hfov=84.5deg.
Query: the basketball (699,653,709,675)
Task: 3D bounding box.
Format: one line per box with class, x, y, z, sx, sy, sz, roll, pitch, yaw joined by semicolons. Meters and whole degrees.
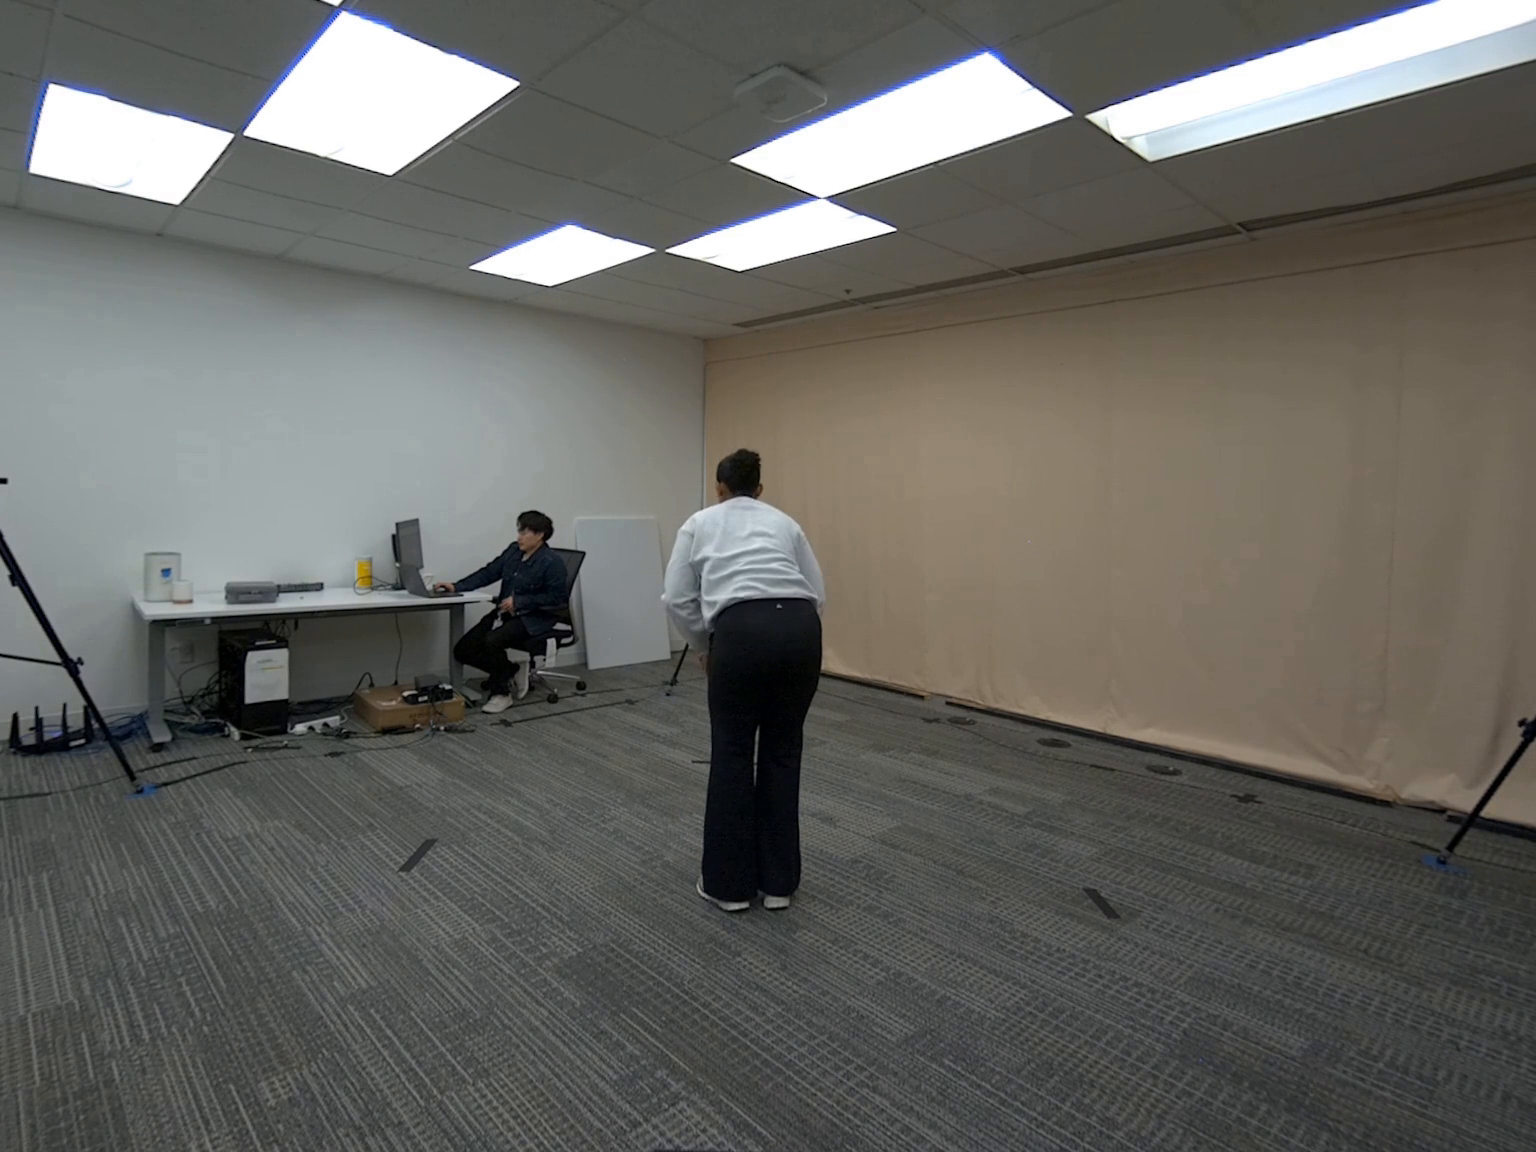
basketball;-0.123;0.366;3.185;0.236;0.235;0.237;1;4;-1
